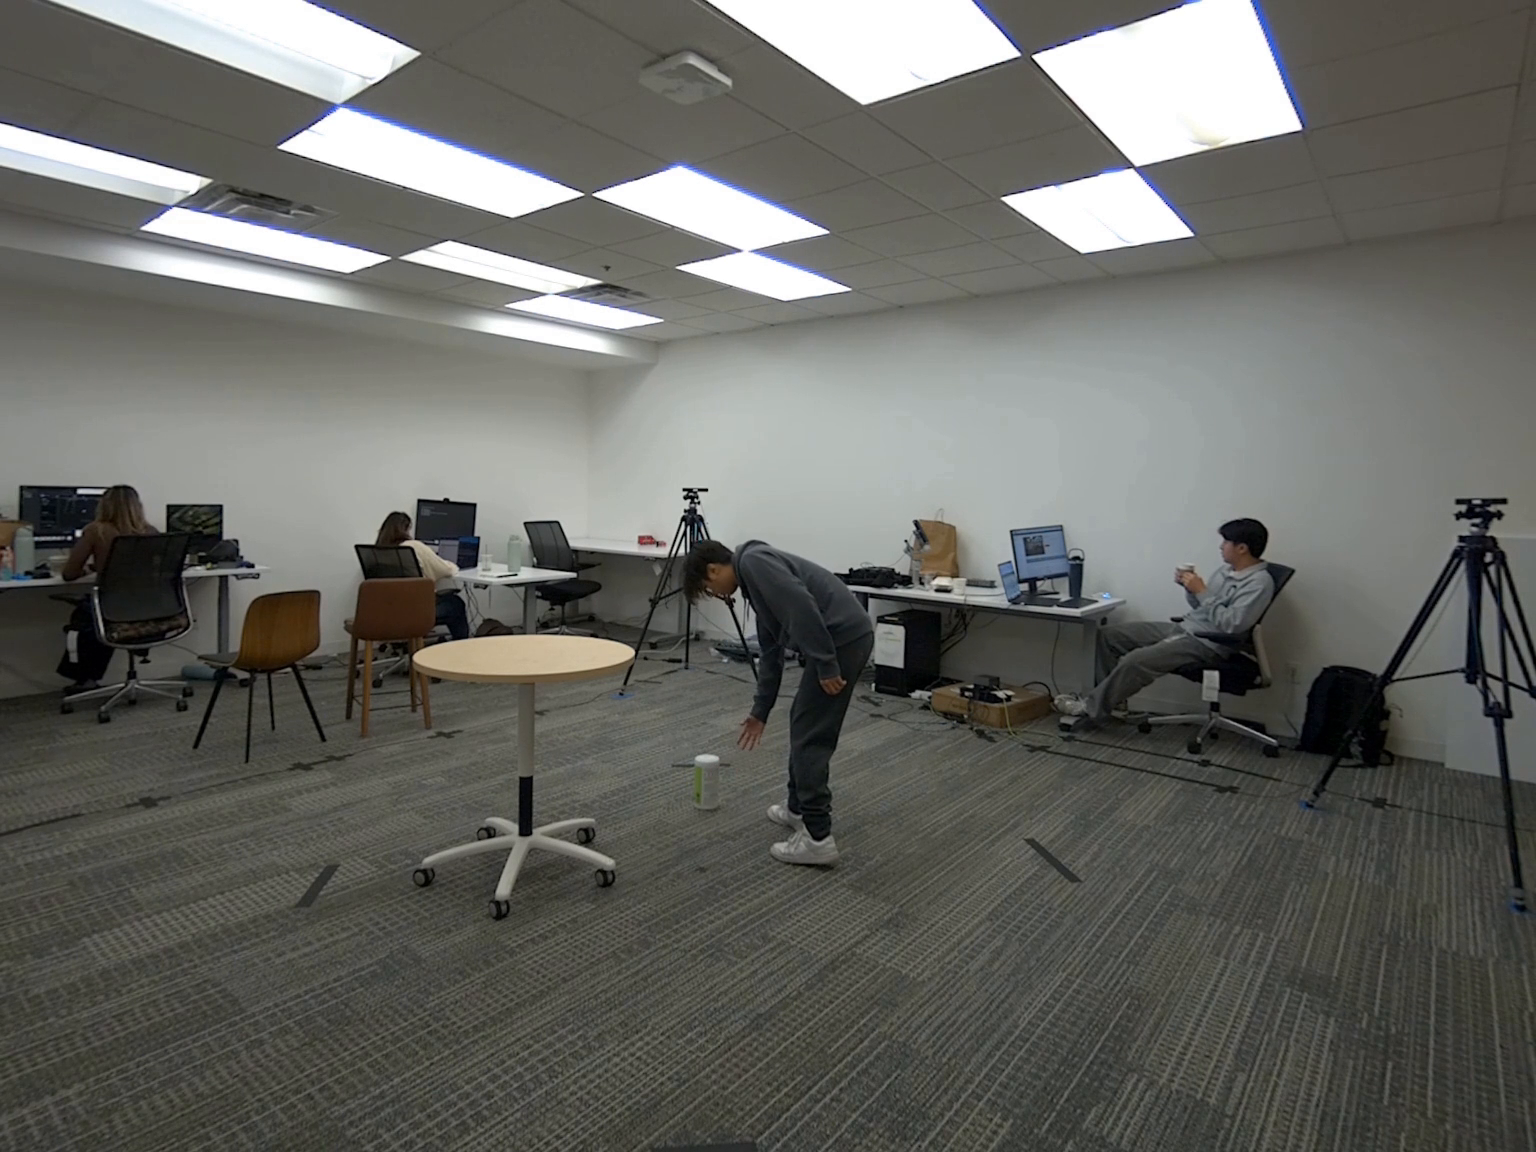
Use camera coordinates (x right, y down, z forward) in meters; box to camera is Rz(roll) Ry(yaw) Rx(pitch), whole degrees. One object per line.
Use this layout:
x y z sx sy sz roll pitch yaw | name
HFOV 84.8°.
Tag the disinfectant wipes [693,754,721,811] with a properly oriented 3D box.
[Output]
-0.279 0.900 3.734 0.118 0.217 0.118 1 2 -2 | disinfectant wipes
